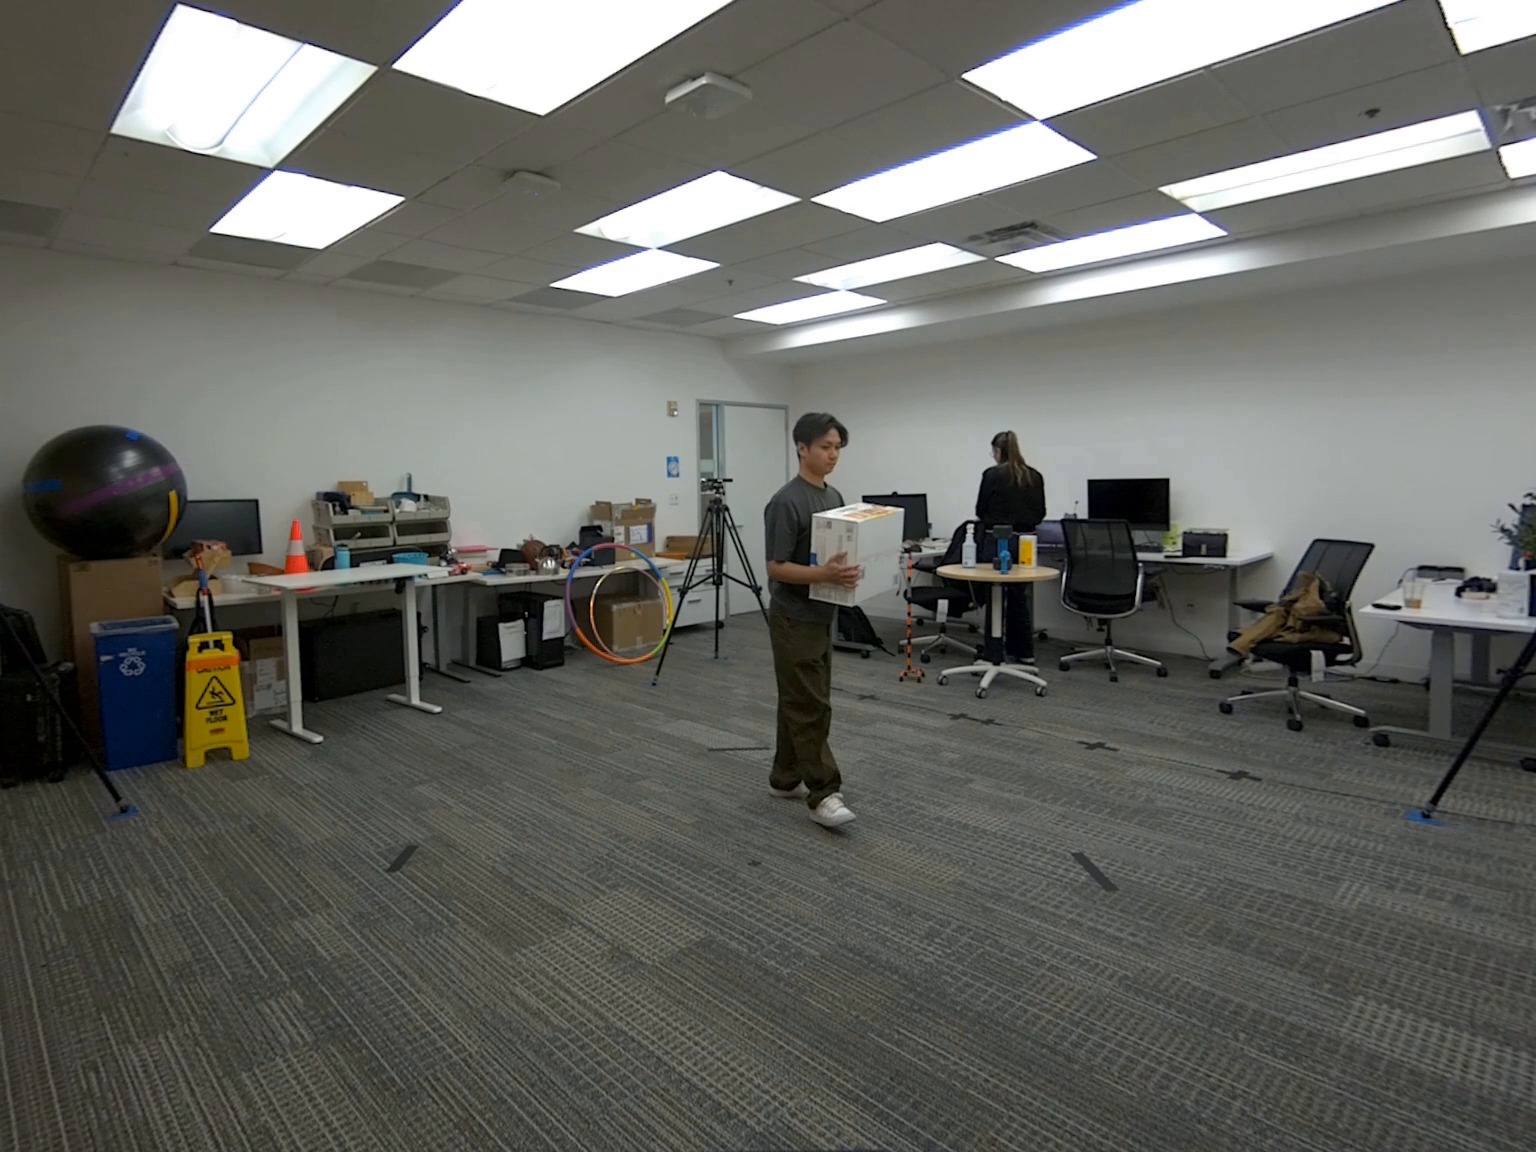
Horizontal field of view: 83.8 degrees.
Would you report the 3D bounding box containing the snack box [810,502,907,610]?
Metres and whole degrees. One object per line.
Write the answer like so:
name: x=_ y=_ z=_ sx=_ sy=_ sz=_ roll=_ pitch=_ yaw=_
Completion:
snack box: x=0.369 y=-0.095 z=3.467 sx=0.212 sy=0.337 sz=0.397 roll=9 pitch=15 yaw=34
